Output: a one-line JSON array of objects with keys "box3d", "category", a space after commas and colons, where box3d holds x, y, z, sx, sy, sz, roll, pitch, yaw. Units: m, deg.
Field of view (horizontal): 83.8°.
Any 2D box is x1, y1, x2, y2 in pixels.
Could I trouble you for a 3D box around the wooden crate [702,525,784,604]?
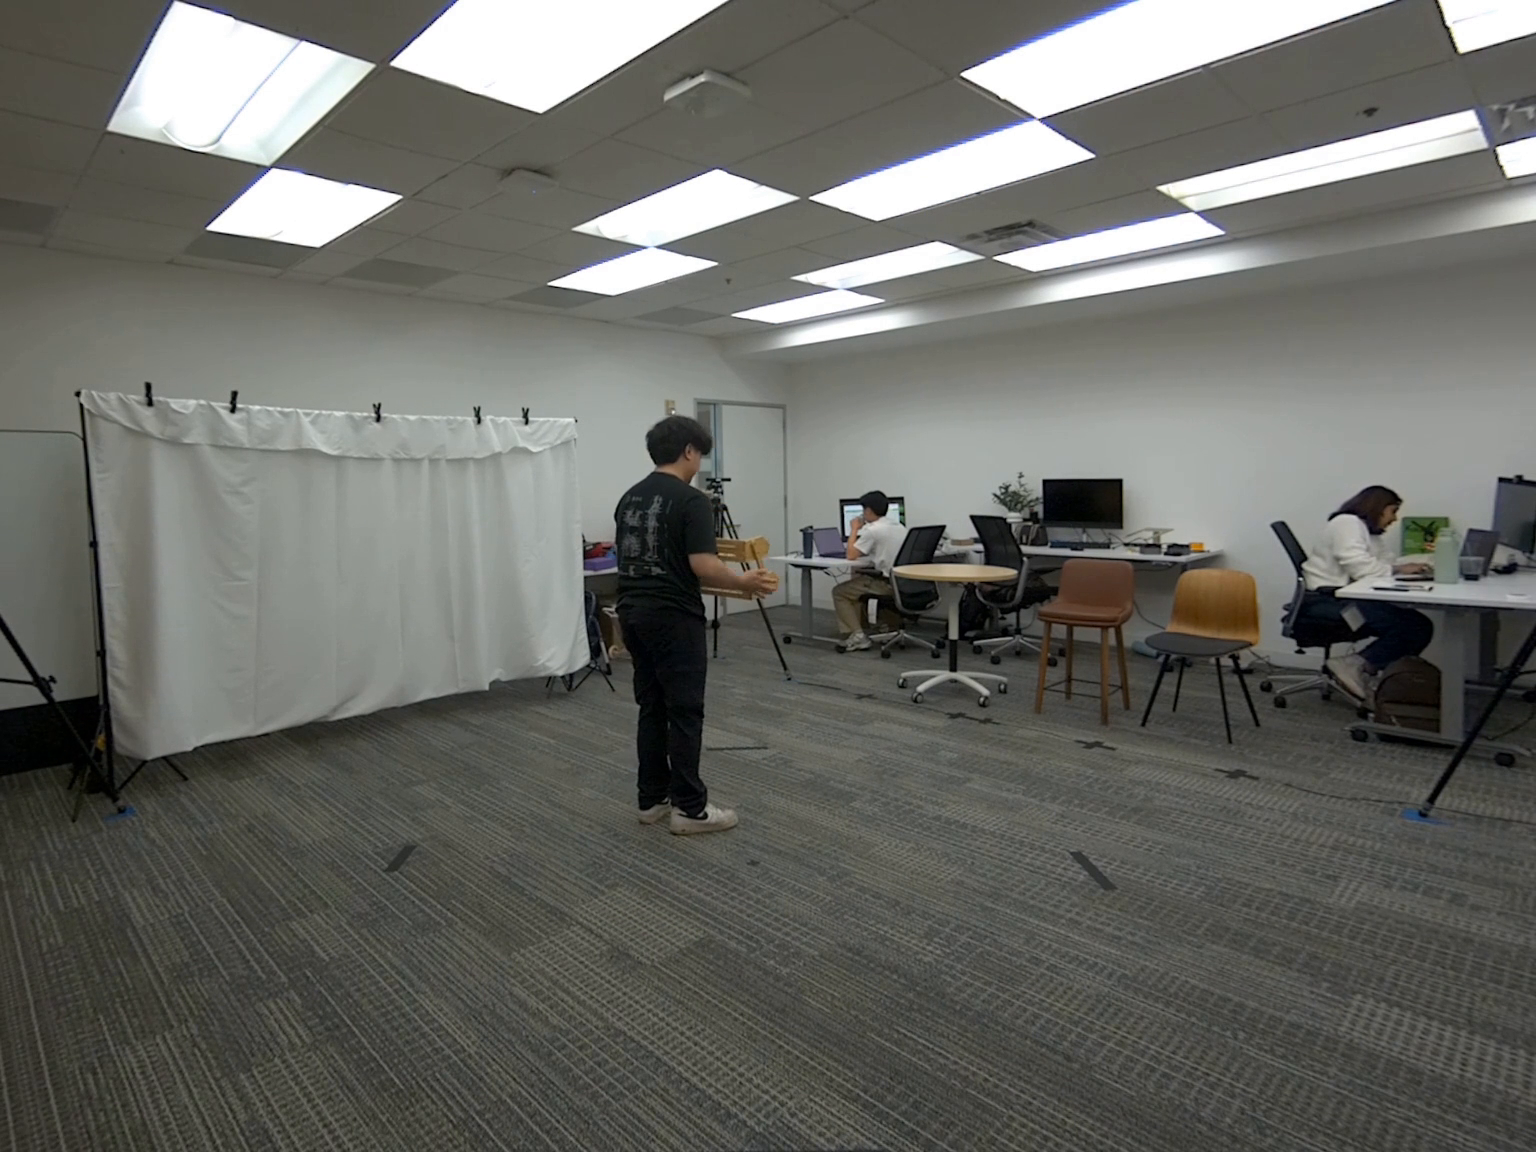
[{"box3d": [-0.153, -0.060, 3.714, 0.333, 0.271, 0.297, 3, 11, 29], "category": "wooden crate"}]
